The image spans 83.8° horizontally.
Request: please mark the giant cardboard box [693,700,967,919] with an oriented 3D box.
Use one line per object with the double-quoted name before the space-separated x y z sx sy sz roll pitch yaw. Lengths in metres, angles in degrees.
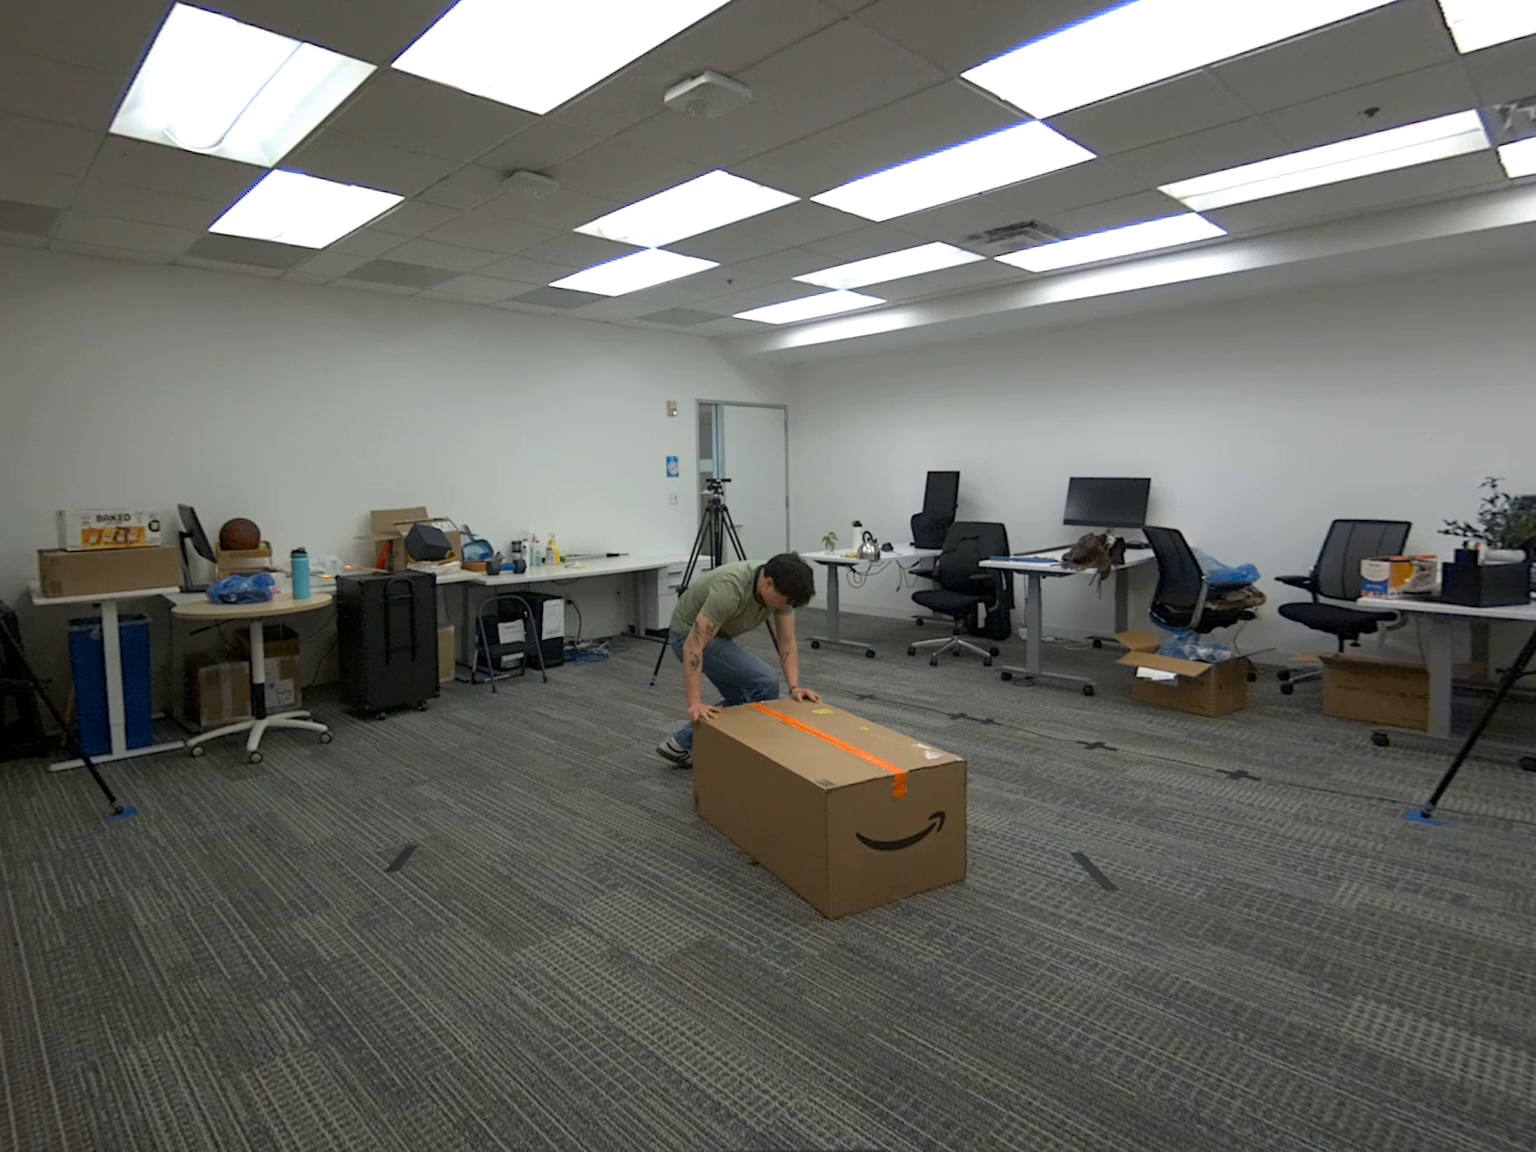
"giant cardboard box" 0.184 0.811 3.261 0.564 0.424 1.053 -3 6 -29
